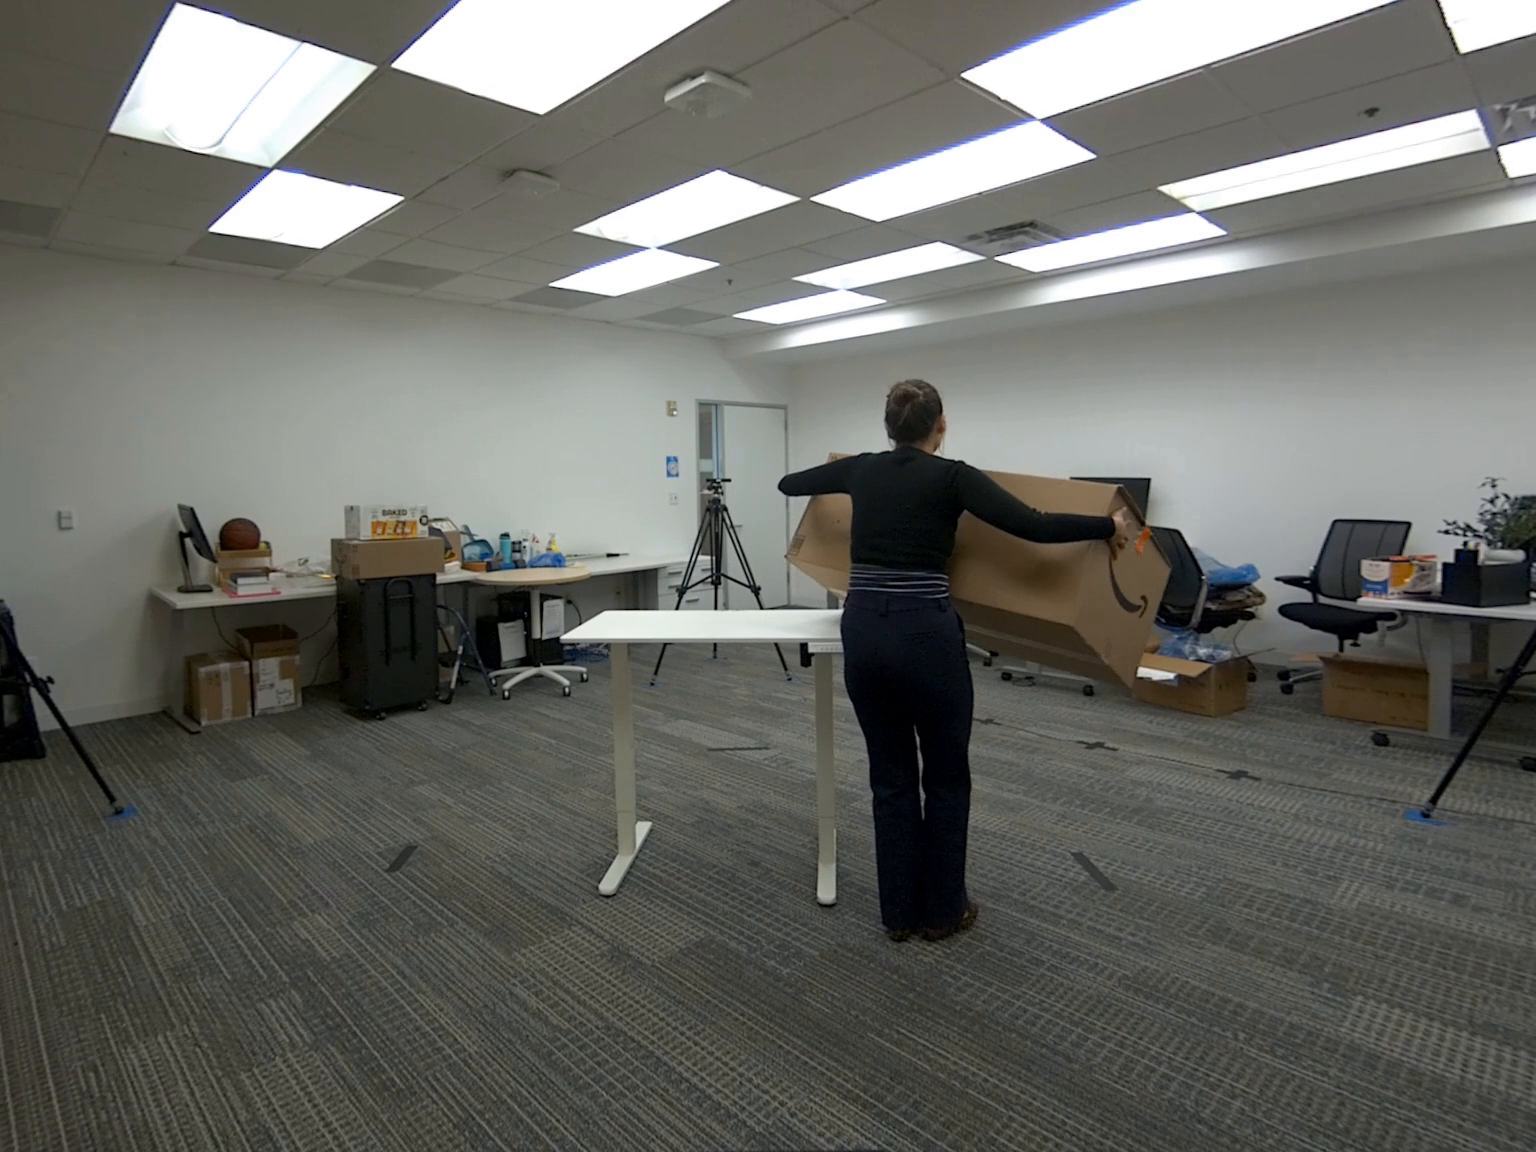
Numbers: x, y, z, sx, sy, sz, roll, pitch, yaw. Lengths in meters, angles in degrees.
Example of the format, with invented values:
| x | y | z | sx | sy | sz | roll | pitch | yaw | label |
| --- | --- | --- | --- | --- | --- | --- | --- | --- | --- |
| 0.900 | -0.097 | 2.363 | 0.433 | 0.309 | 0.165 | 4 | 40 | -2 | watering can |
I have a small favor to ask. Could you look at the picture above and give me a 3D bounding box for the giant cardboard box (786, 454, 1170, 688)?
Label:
| x | y | z | sx | sy | sz | roll | pitch | yaw | label |
| --- | --- | --- | --- | --- | --- | --- | --- | --- | --- |
| 0.675 | -0.048 | 2.837 | 1.061 | 0.428 | 0.555 | 14 | -15 | 43 | giant cardboard box |
